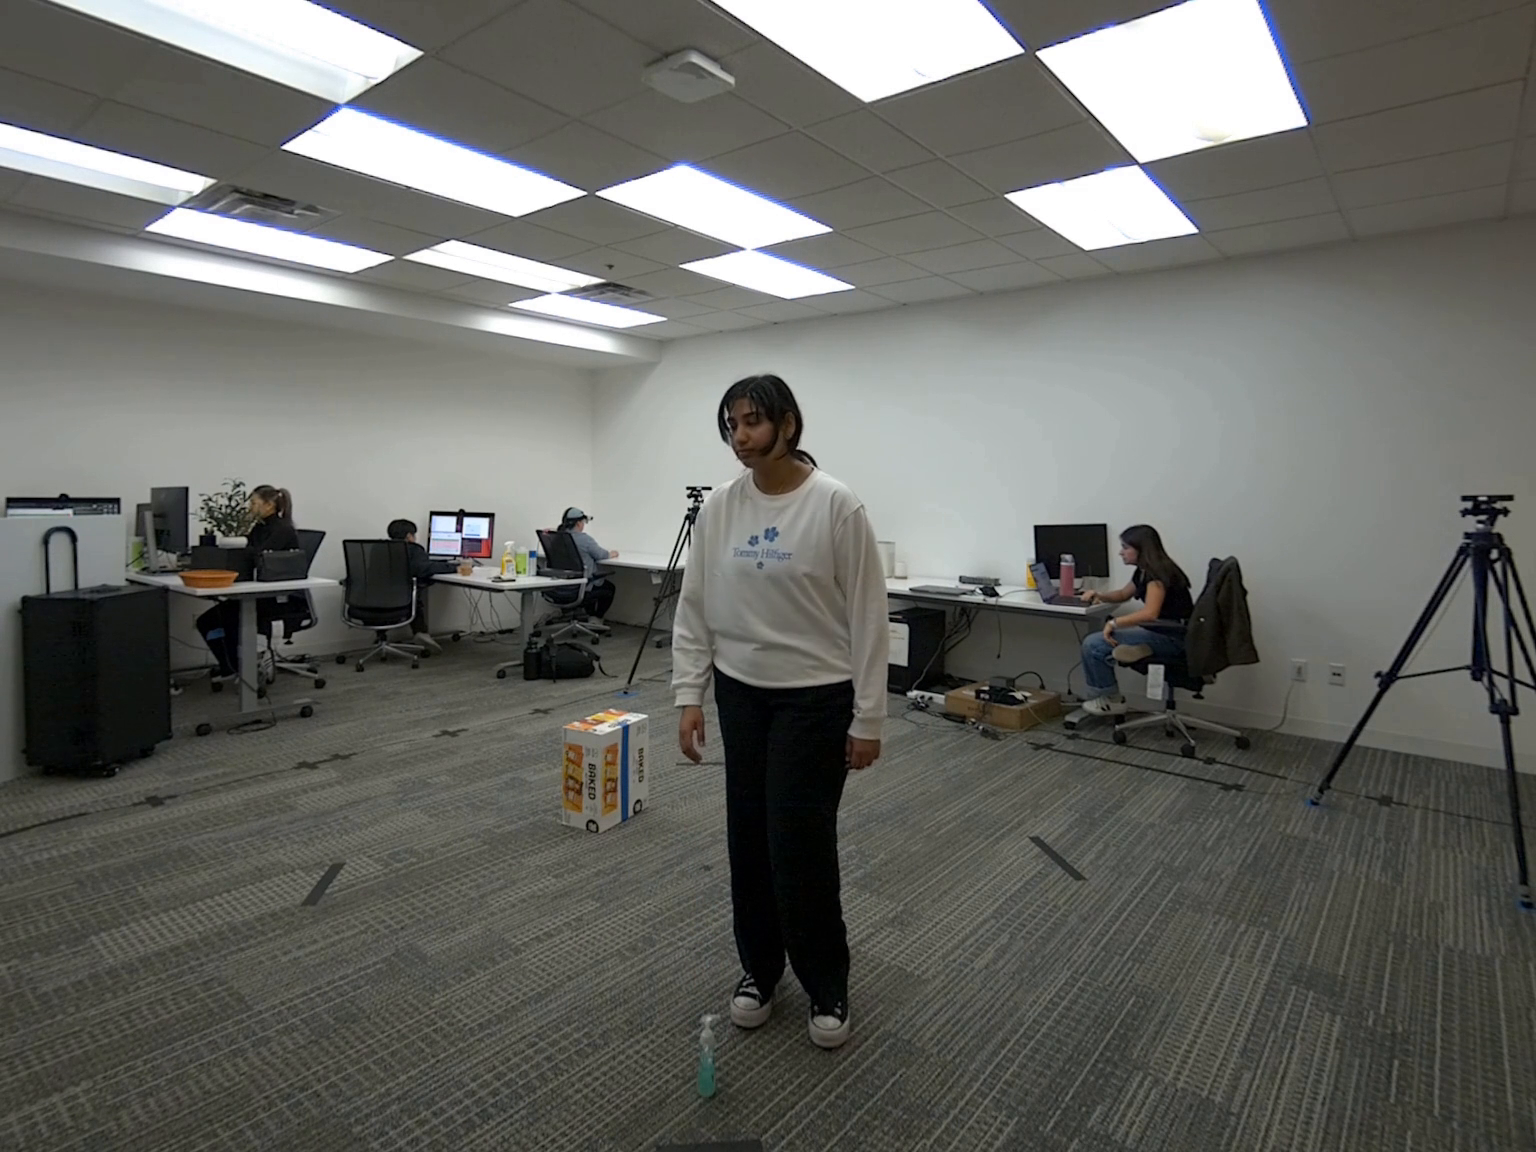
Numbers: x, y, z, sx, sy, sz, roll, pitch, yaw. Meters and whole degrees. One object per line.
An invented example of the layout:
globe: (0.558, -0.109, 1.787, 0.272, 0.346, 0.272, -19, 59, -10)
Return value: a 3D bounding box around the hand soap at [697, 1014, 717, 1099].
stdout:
hand soap: (-0.142, 1.101, 1.964, 0.043, 0.168, 0.085, -1, 2, -3)
